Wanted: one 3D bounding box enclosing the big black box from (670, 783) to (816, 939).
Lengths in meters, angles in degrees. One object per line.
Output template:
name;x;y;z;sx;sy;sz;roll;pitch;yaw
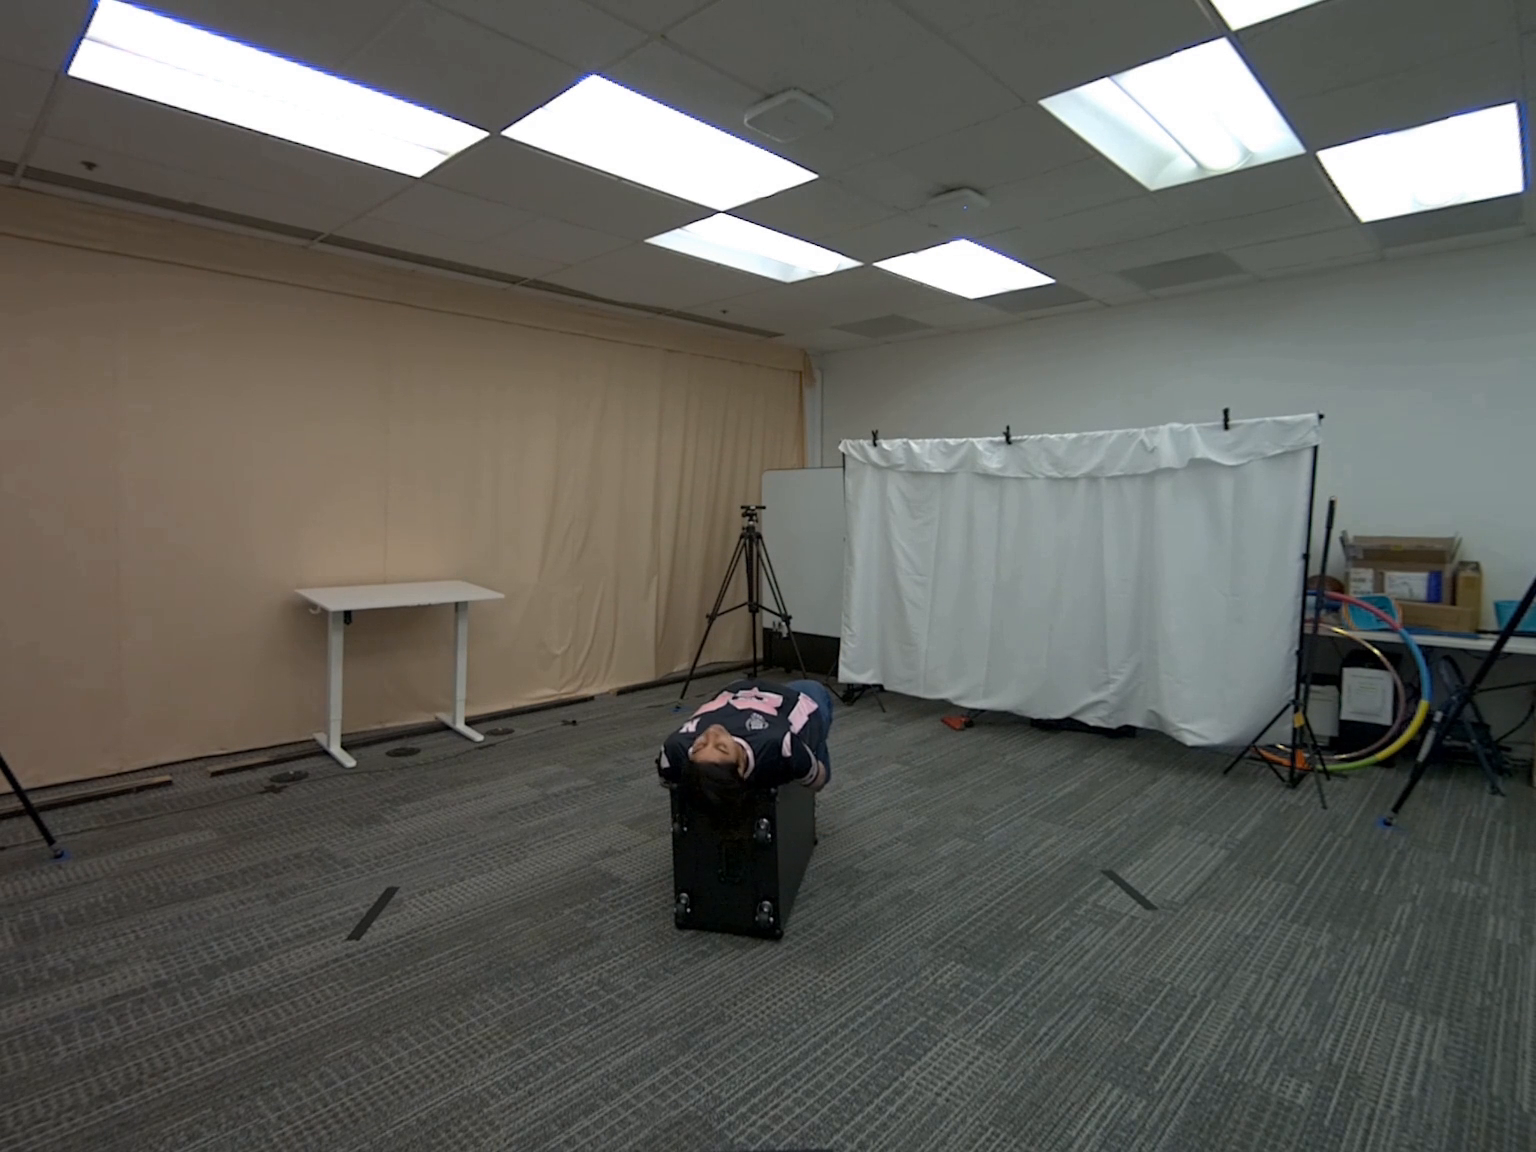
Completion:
big black box;-0.069;0.881;3.051;0.391;0.522;0.857;2;5;13
